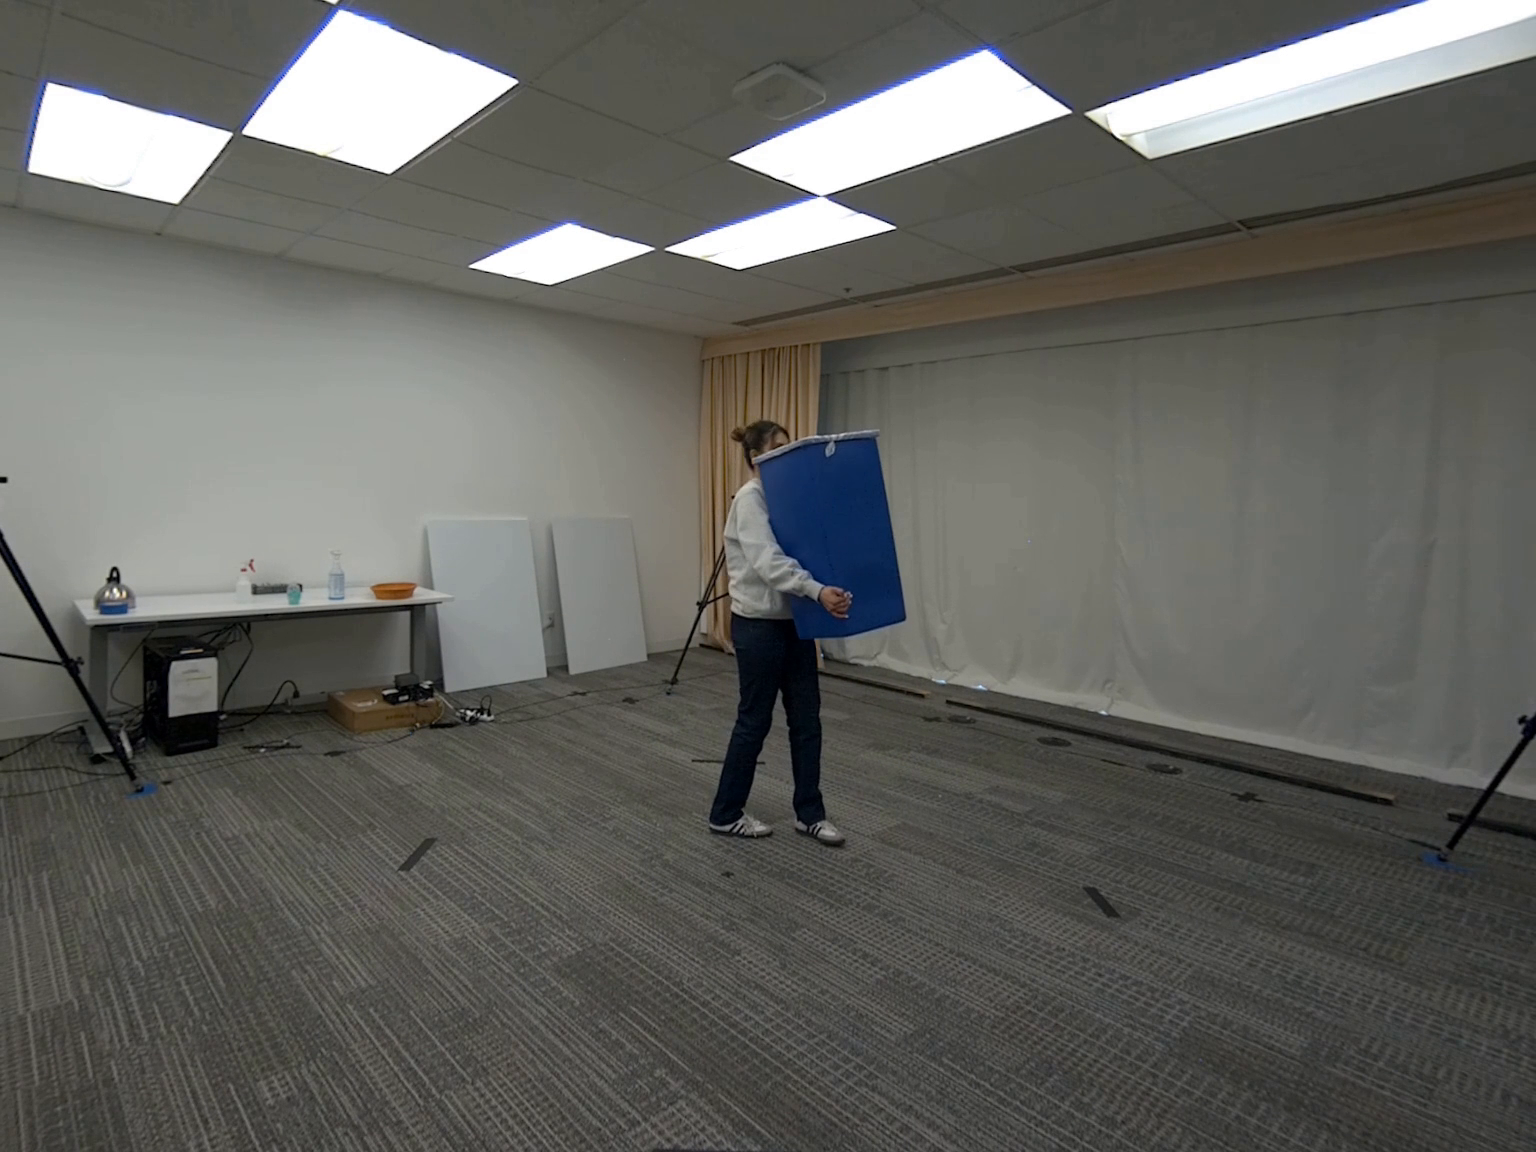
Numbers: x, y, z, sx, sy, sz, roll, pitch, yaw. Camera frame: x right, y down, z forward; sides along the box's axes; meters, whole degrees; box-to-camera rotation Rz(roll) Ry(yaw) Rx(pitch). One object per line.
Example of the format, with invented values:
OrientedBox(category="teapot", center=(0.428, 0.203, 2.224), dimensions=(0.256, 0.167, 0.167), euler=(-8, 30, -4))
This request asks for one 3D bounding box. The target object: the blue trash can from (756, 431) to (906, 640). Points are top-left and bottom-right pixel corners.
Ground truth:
OrientedBox(category="blue trash can", center=(0.236, -0.150, 3.171), dimensions=(0.371, 0.715, 0.380), euler=(-10, -2, -34))
